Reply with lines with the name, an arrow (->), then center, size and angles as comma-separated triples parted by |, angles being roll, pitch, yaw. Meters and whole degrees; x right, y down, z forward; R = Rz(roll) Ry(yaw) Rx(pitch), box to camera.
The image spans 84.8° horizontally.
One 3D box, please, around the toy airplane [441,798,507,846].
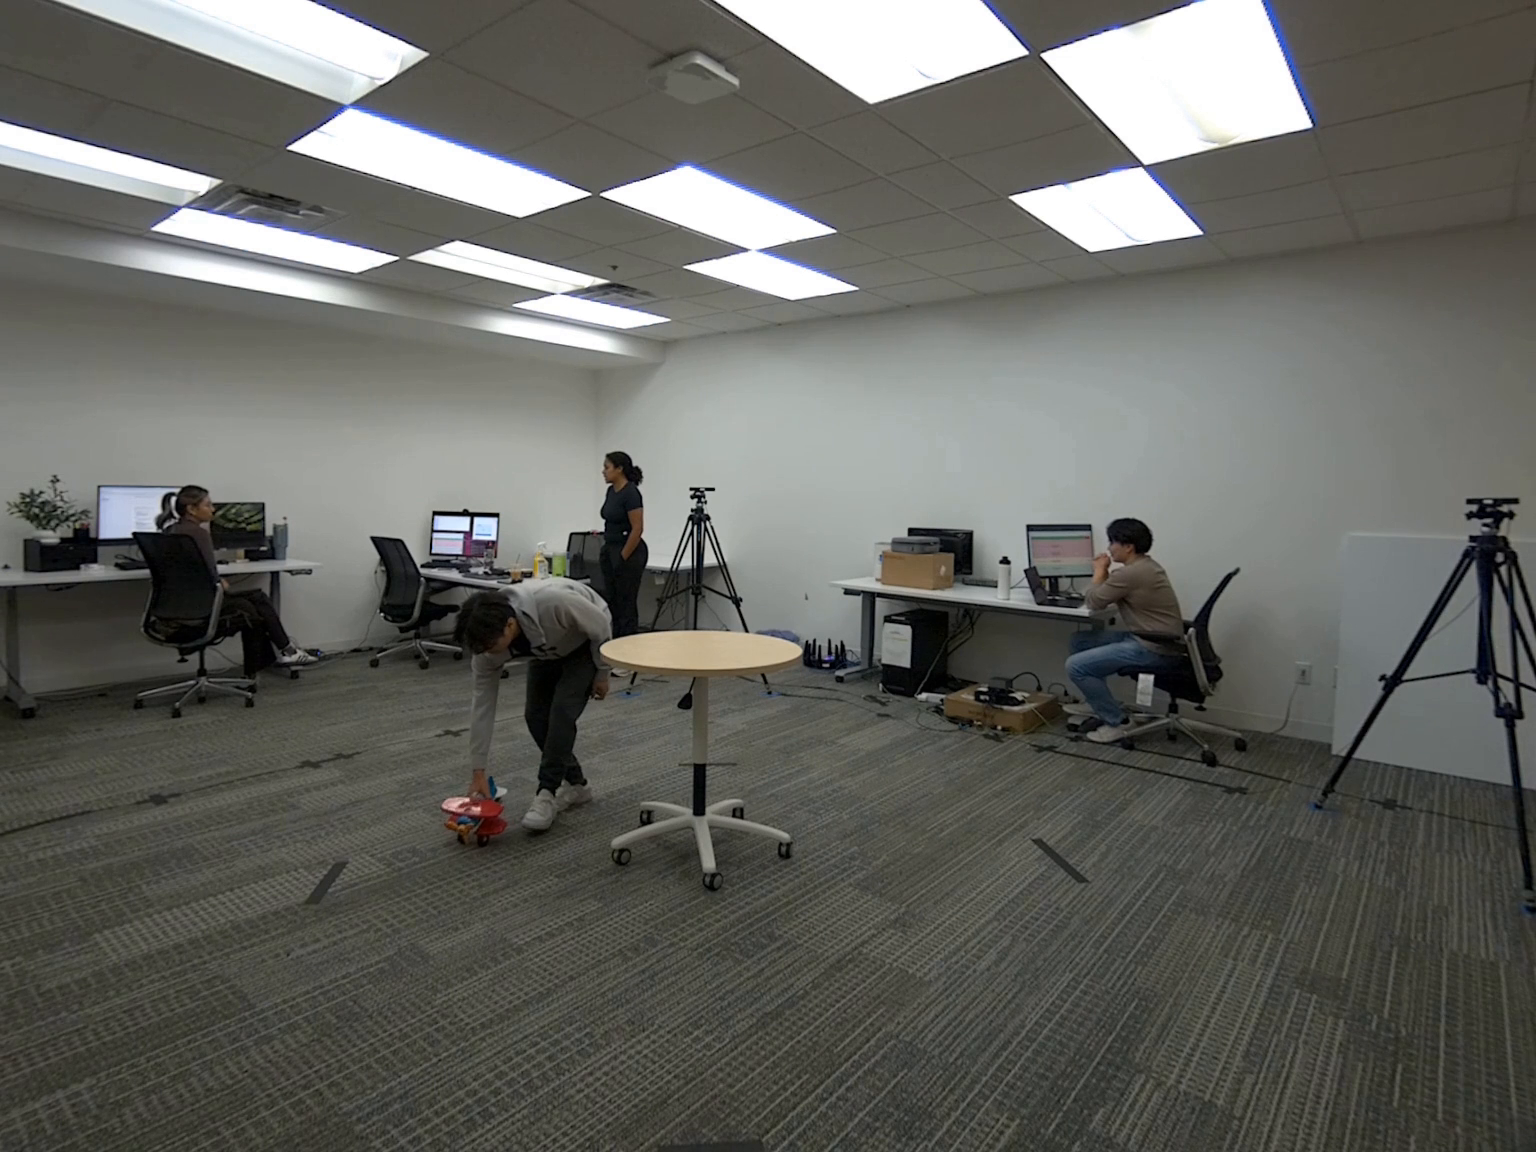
toy airplane -> -1.161, 0.922, 3.328 | 0.249, 0.151, 0.269 | -15, 39, -8
